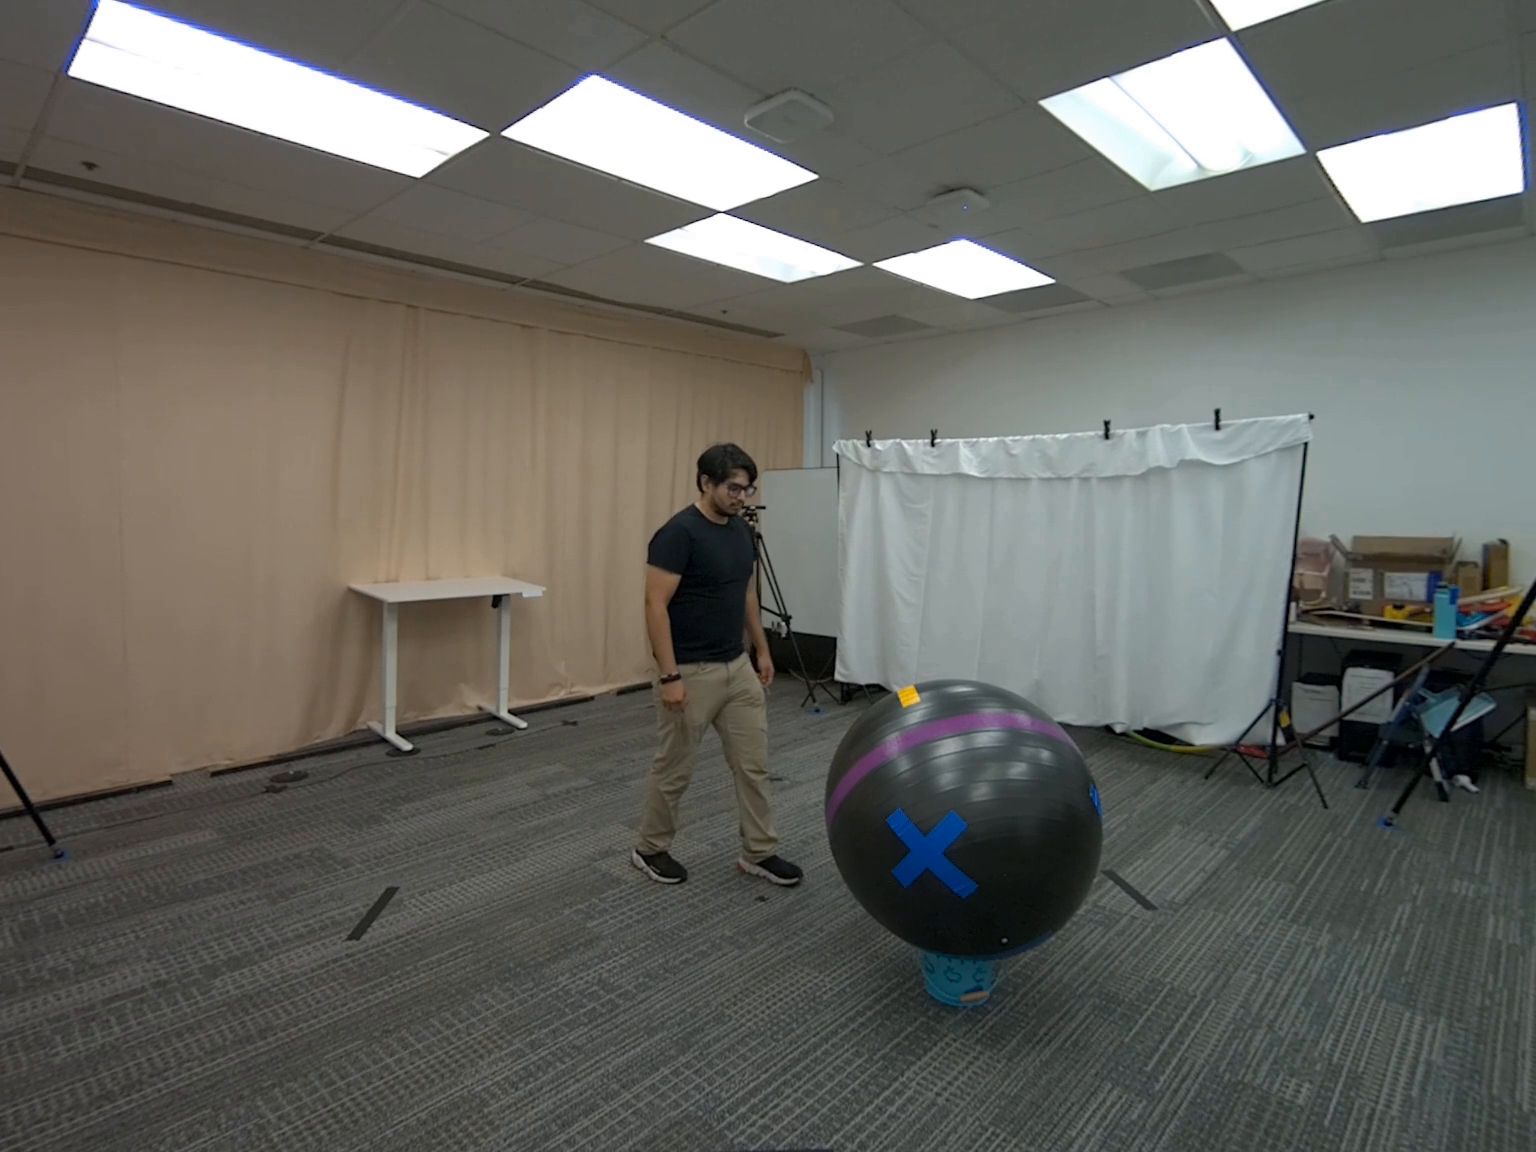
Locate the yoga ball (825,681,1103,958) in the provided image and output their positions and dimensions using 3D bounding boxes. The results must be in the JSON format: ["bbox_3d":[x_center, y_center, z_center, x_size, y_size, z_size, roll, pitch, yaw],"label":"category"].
[{"bbox_3d":[0.552,0.683,2.406,0.757,0.756,0.760,0,4,-2],"label":"yoga ball"}]
